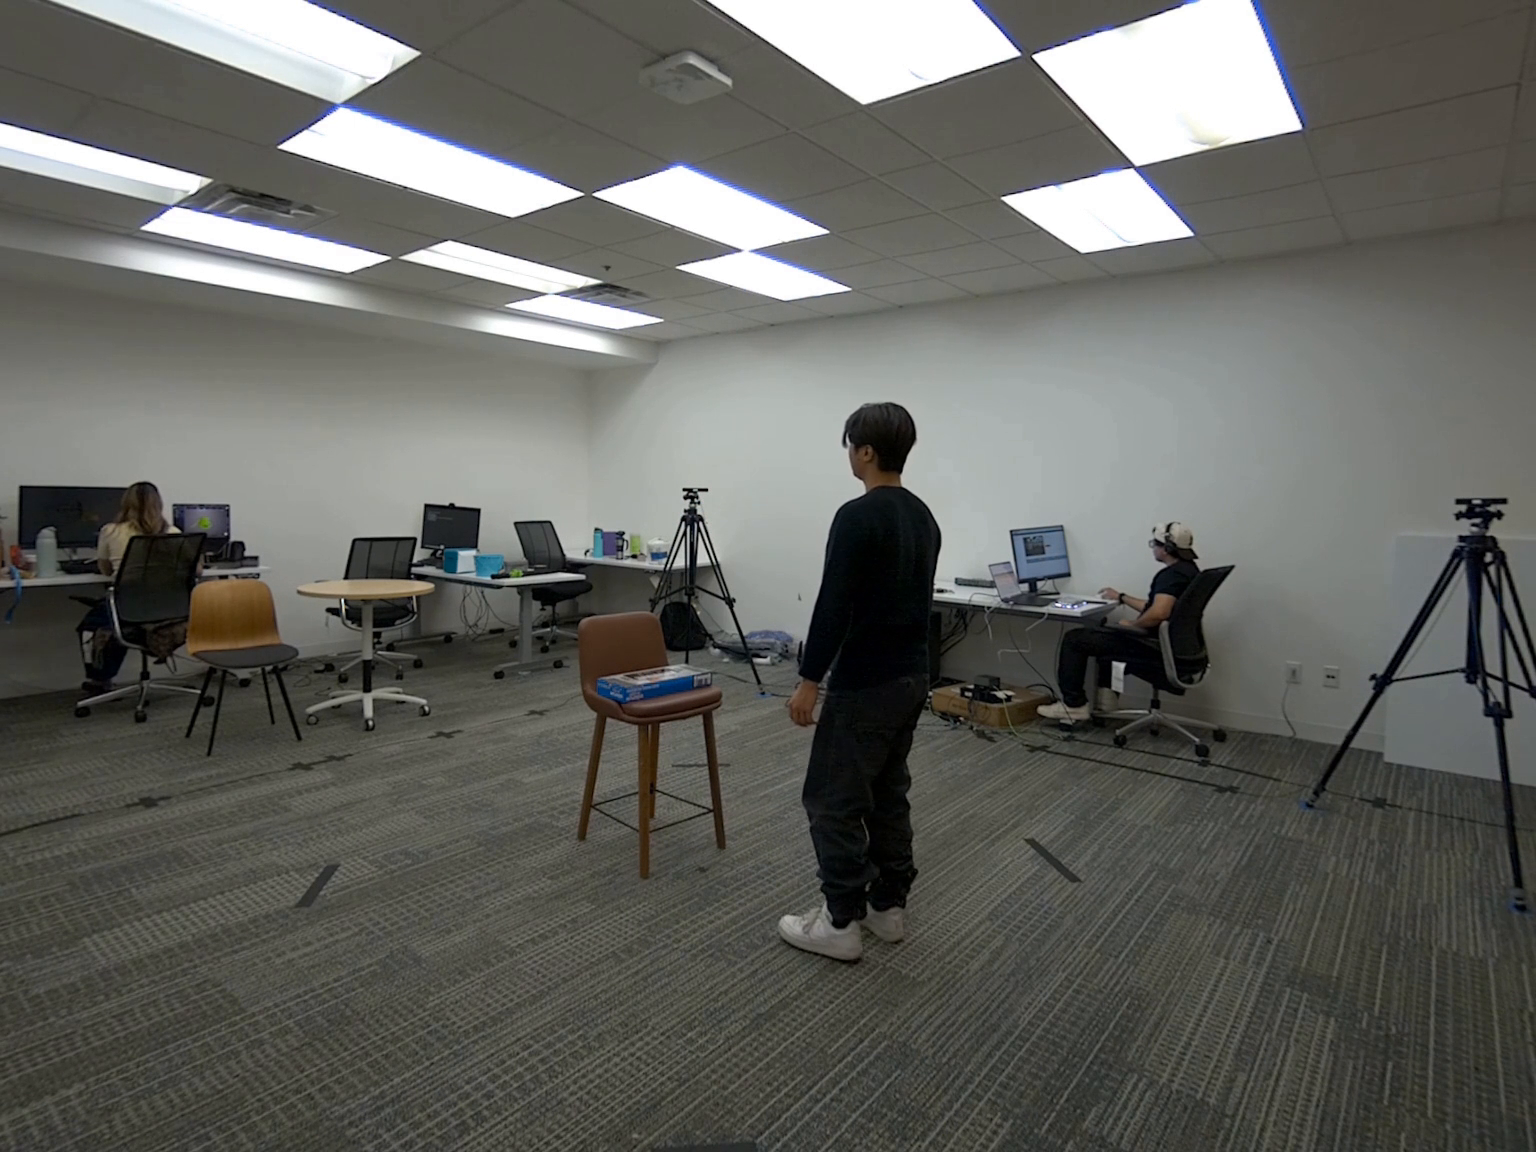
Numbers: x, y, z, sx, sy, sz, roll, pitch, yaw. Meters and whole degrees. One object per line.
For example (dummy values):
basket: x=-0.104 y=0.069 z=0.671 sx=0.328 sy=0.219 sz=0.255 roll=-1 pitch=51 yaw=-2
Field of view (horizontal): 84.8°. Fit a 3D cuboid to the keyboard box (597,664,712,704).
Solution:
keyboard box: x=-0.440 y=0.403 z=3.276 sx=0.182 sy=0.059 sz=0.424 roll=7 pitch=8 yaw=44
